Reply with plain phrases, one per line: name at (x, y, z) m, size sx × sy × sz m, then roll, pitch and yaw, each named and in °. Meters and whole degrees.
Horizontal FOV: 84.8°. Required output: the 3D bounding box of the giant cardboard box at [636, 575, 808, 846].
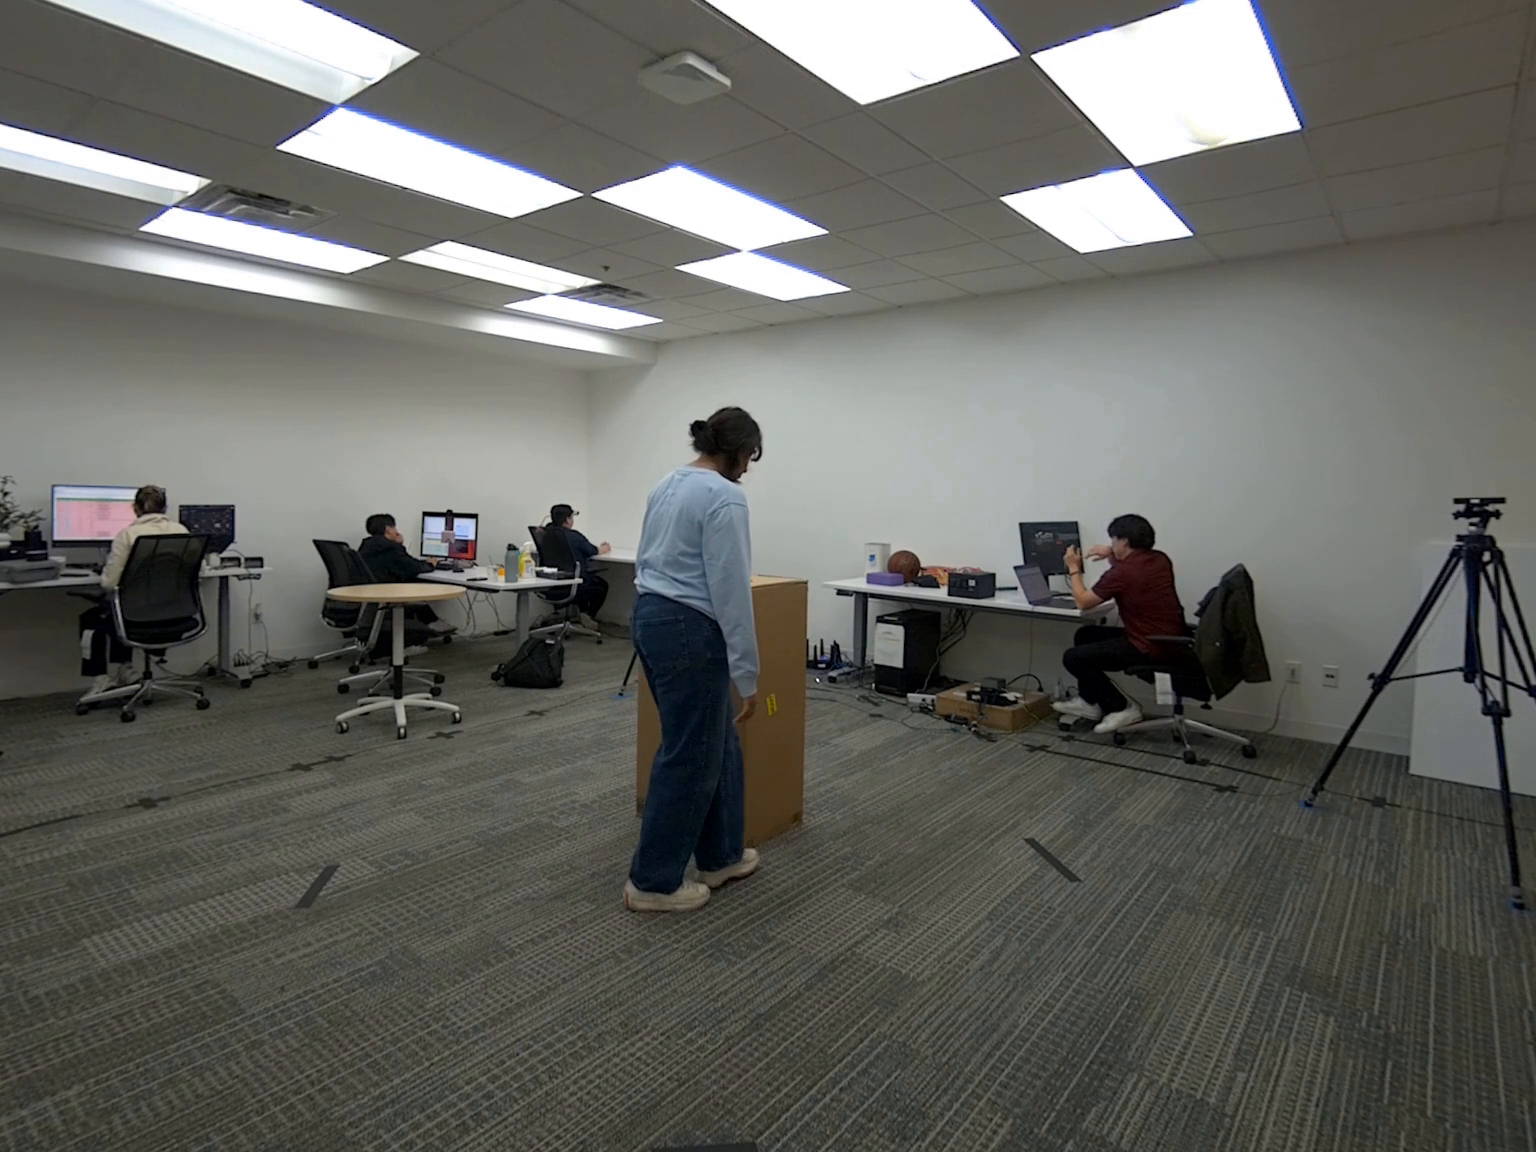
giant cardboard box at (-0.206, 0.515, 3.573) m, size 0.603 × 1.024 × 0.434 m, roll 3°, pitch 4°, yaw 38°
